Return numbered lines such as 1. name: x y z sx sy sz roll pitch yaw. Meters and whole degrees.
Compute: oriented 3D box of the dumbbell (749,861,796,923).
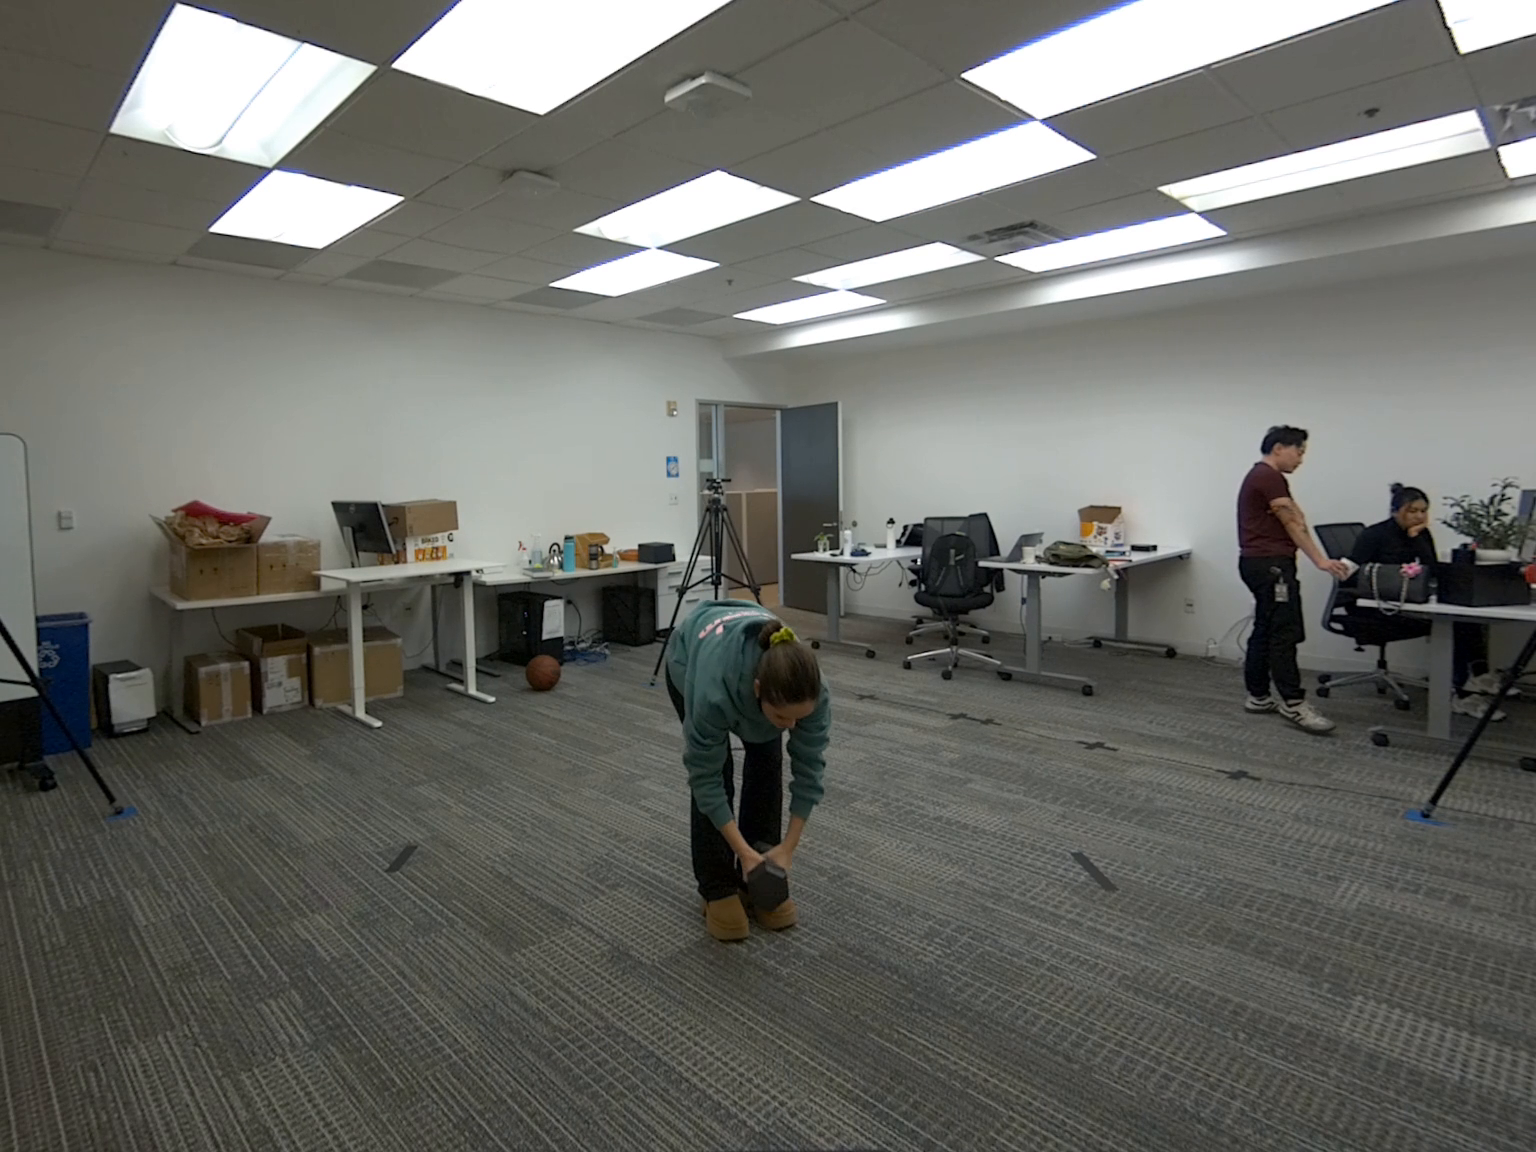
1. dumbbell: 0.005 0.859 2.427 0.108 0.123 0.293 -4 -3 -3
